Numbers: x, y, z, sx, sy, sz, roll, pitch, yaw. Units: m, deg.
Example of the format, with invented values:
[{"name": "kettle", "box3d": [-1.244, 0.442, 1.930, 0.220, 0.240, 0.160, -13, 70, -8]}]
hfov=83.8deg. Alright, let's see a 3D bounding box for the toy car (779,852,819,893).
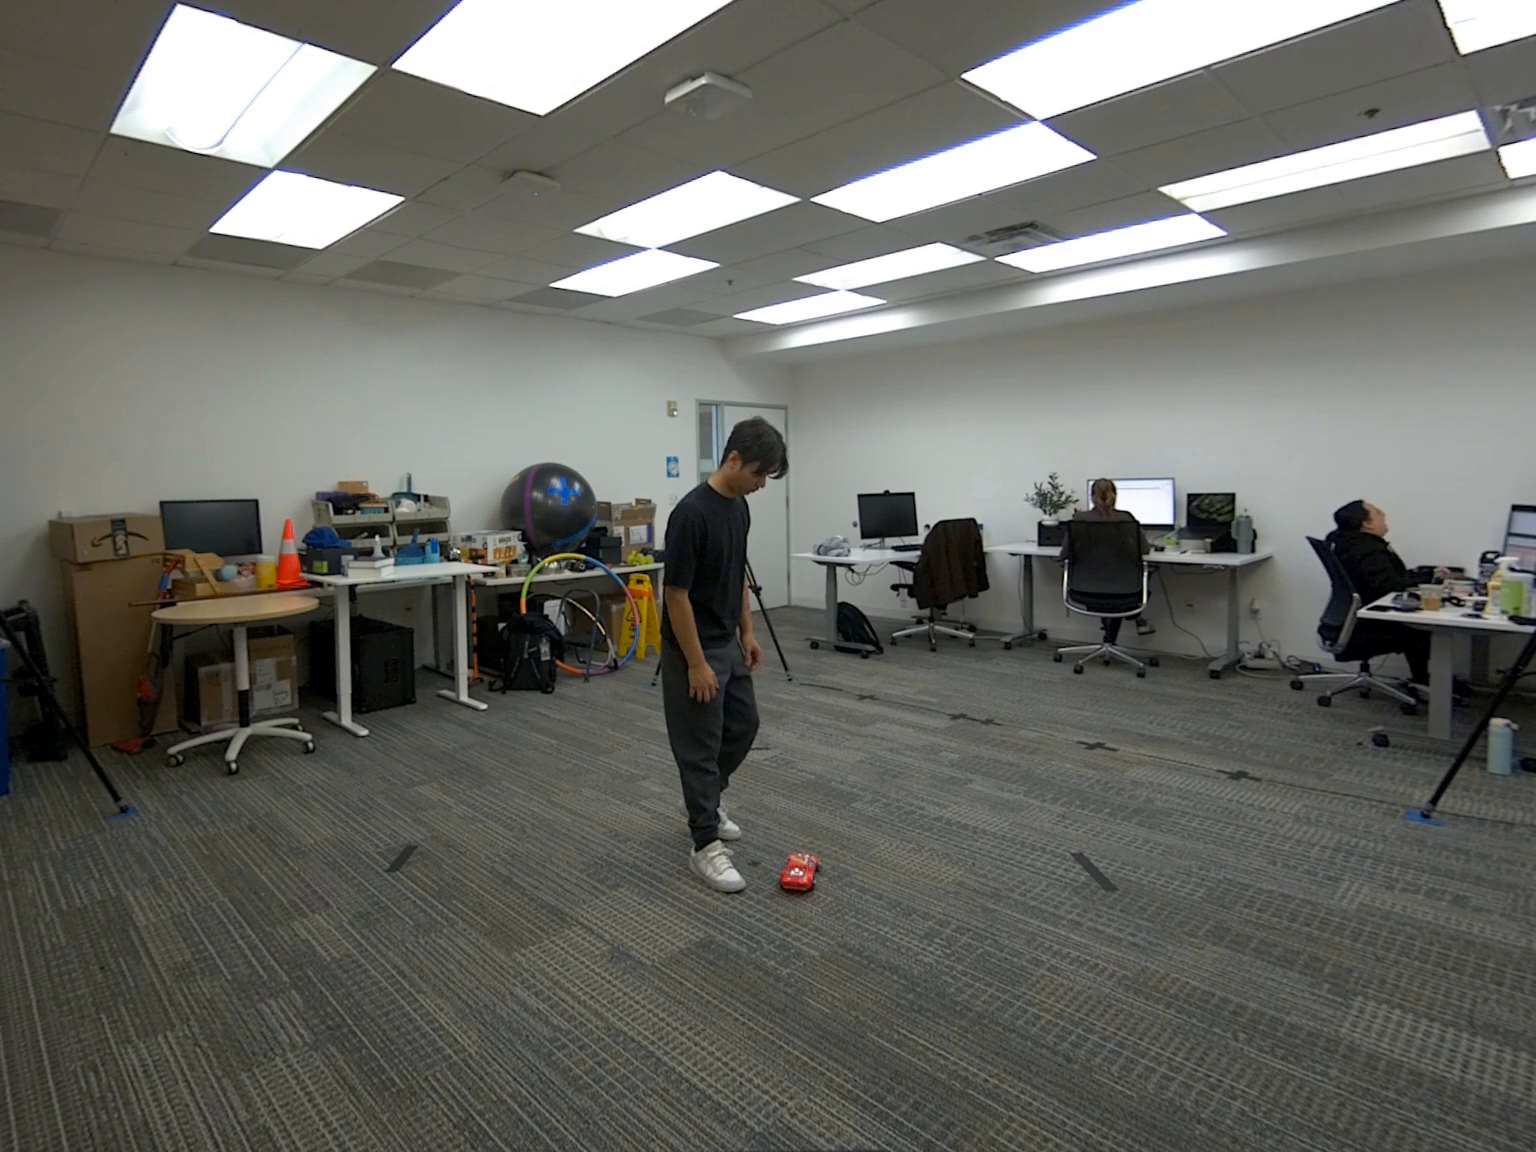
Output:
[{"name": "toy car", "box3d": [0.115, 1.030, 2.960, 0.132, 0.083, 0.250, 1, -4, 12]}]
